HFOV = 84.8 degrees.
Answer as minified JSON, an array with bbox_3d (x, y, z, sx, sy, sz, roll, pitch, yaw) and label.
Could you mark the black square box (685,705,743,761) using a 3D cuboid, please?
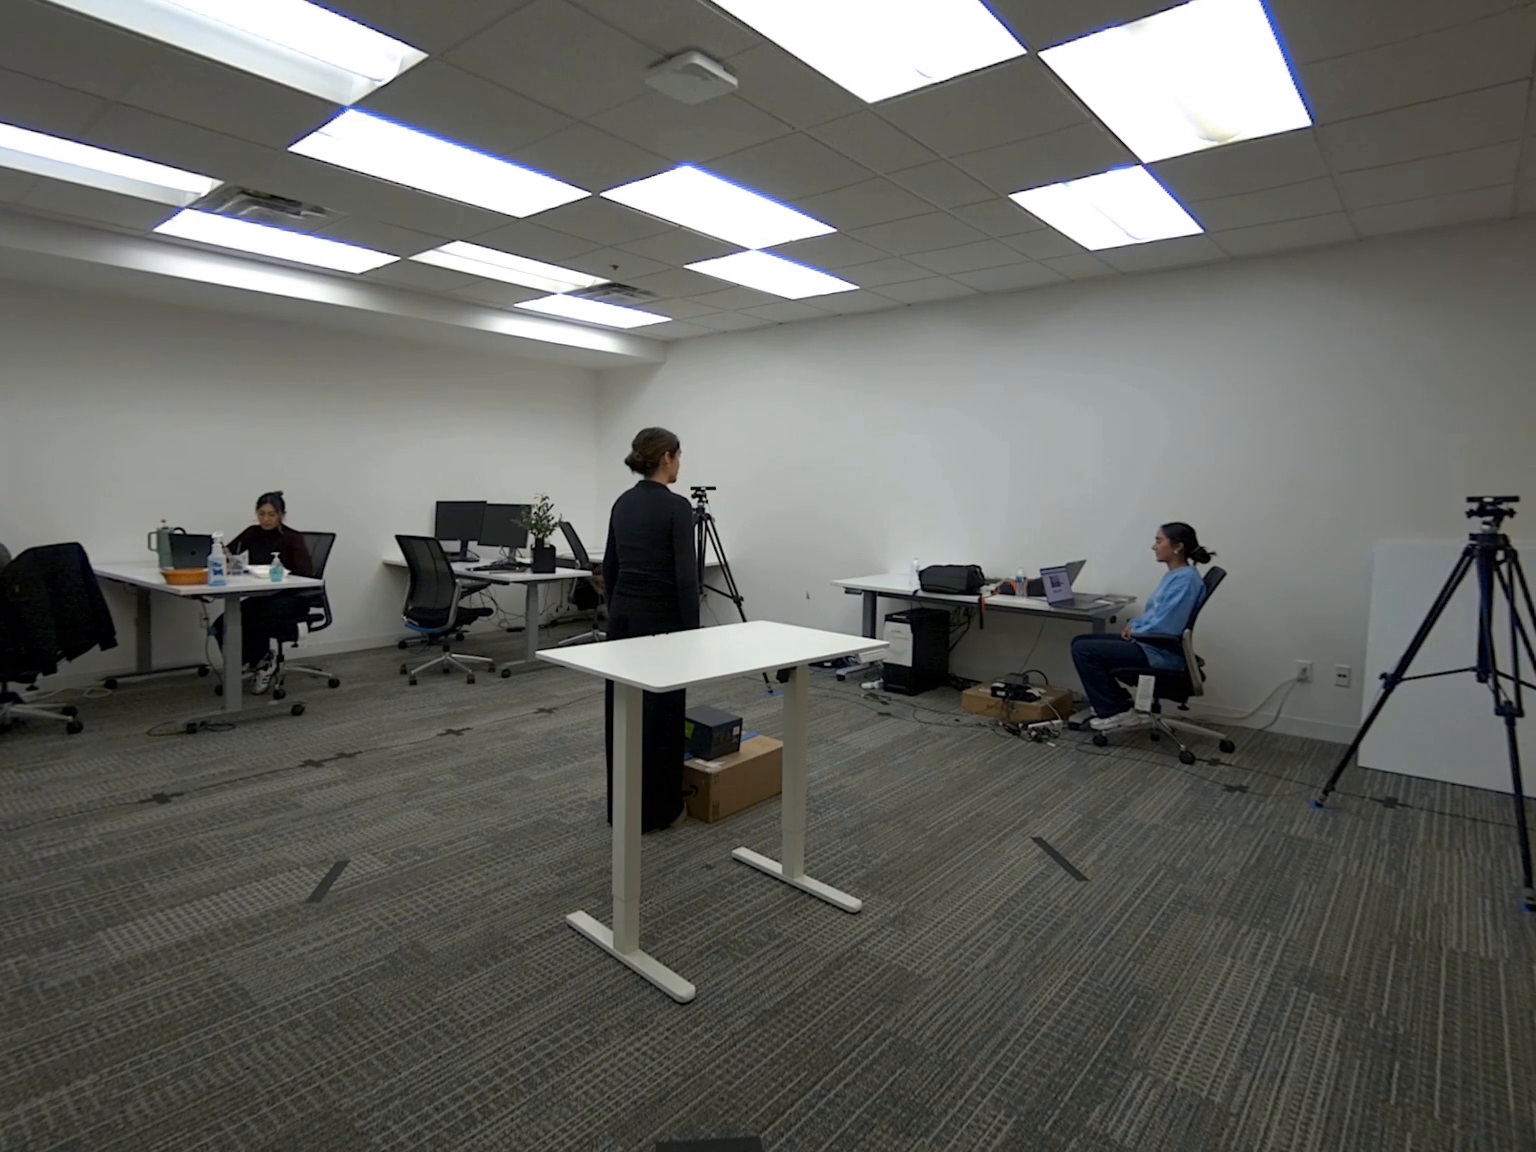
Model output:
[{"bbox_3d":[-0.282,0.688,3.790,0.236,0.155,0.210,10,9,38],"label":"black square box"}]
